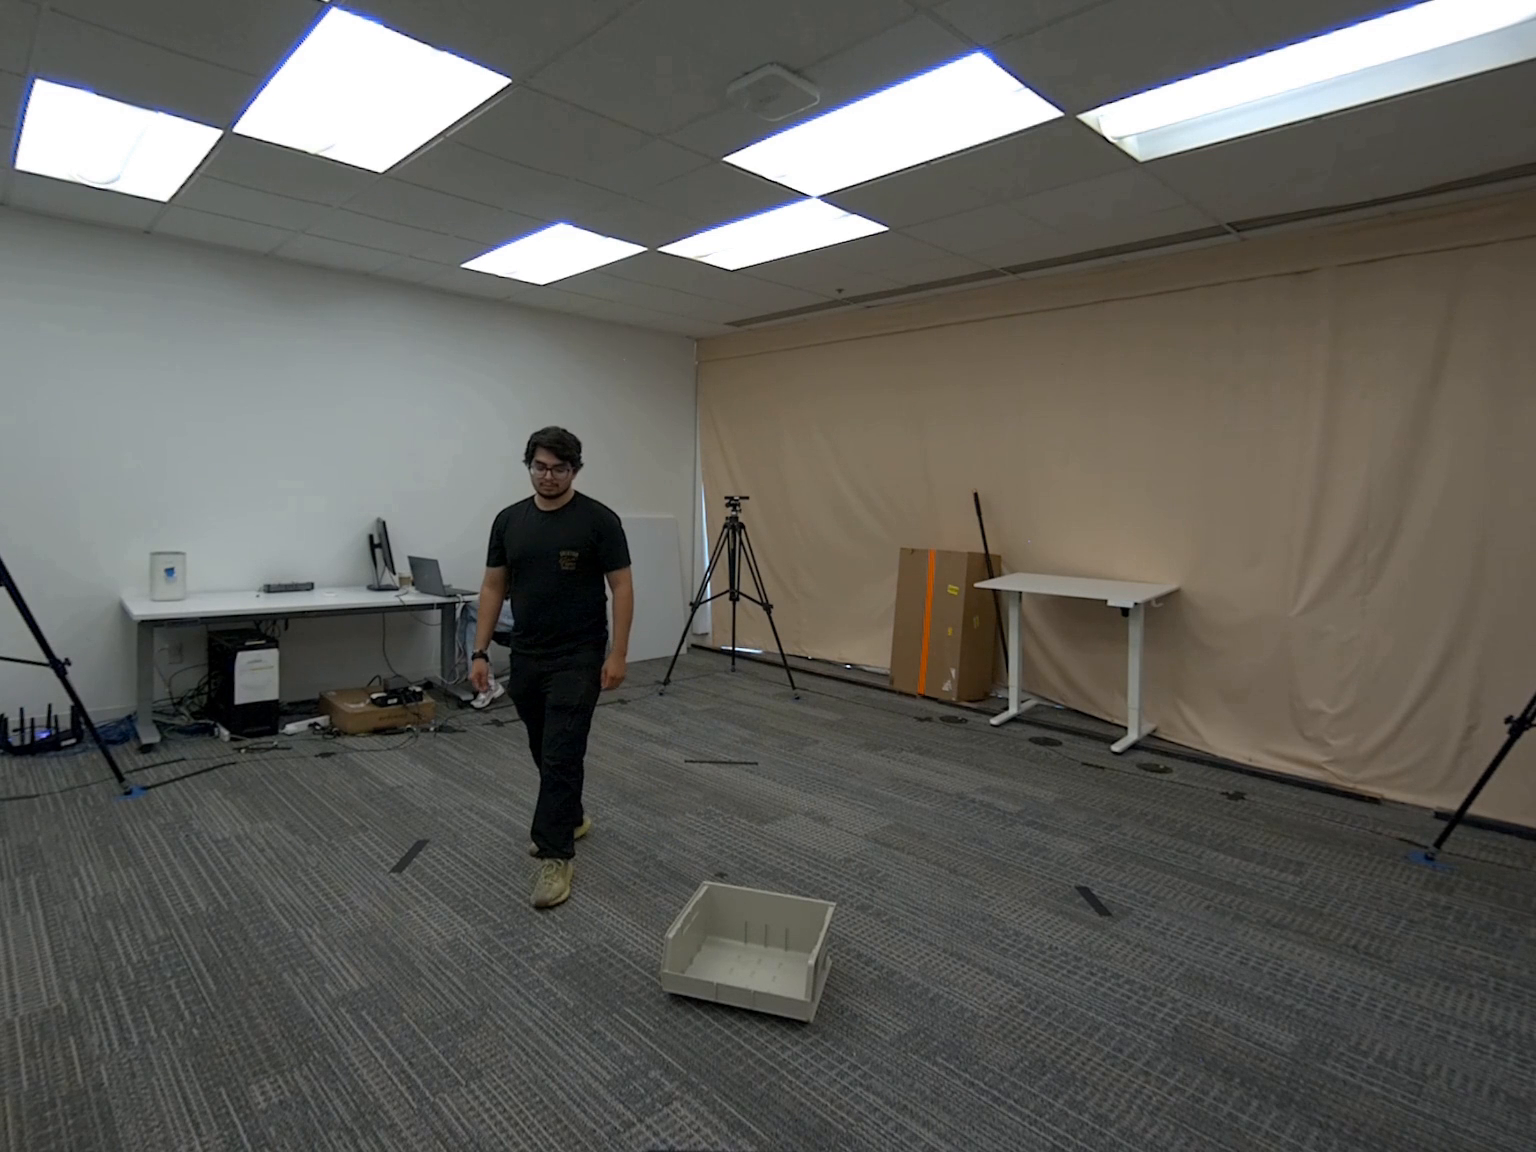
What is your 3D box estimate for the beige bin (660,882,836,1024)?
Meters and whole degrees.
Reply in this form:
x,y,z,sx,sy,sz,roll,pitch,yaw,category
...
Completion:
x,y,z,sx,sy,sz,roll,pitch,yaw,category
-0.048,1.083,2.416,0.428,0.188,0.373,2,4,15,beige bin
